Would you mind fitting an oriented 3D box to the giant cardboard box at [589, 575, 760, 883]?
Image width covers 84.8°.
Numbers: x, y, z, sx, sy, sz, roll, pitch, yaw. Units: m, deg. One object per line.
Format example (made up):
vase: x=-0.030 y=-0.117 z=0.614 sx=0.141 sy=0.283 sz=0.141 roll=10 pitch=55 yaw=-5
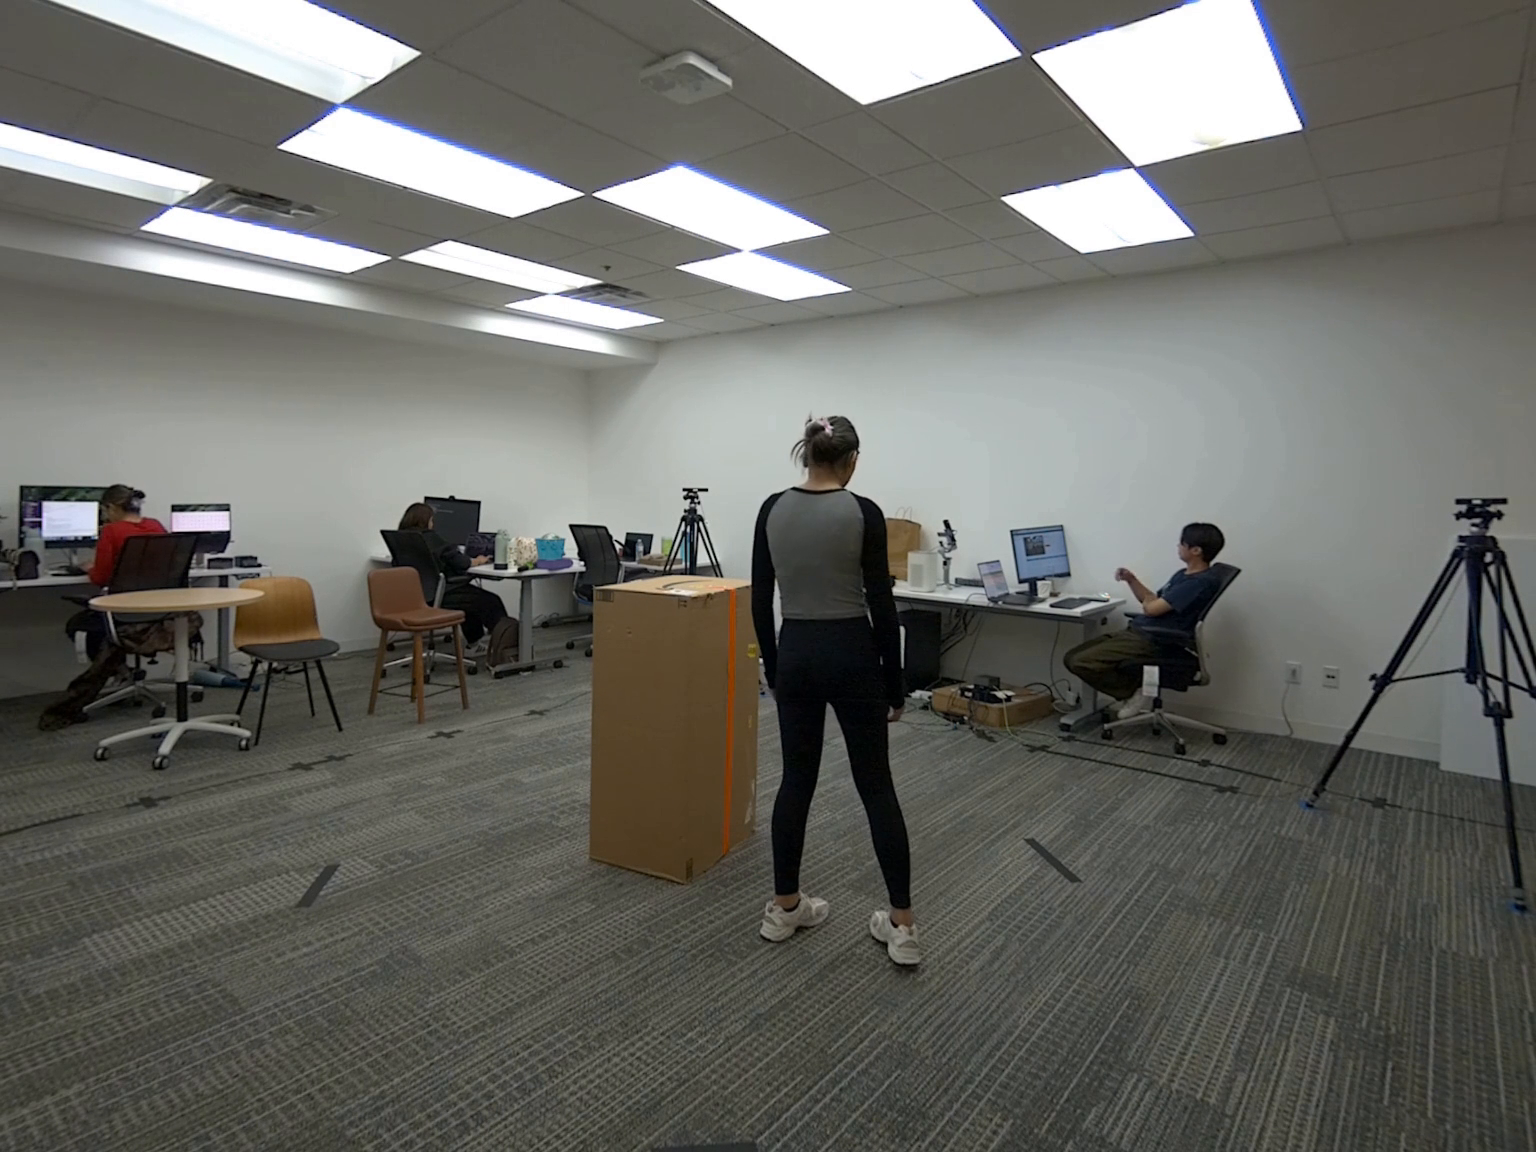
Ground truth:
giant cardboard box: x=-0.356 y=0.540 z=3.303 sx=0.438 sy=1.023 sz=0.563 roll=3 pitch=4 yaw=27
